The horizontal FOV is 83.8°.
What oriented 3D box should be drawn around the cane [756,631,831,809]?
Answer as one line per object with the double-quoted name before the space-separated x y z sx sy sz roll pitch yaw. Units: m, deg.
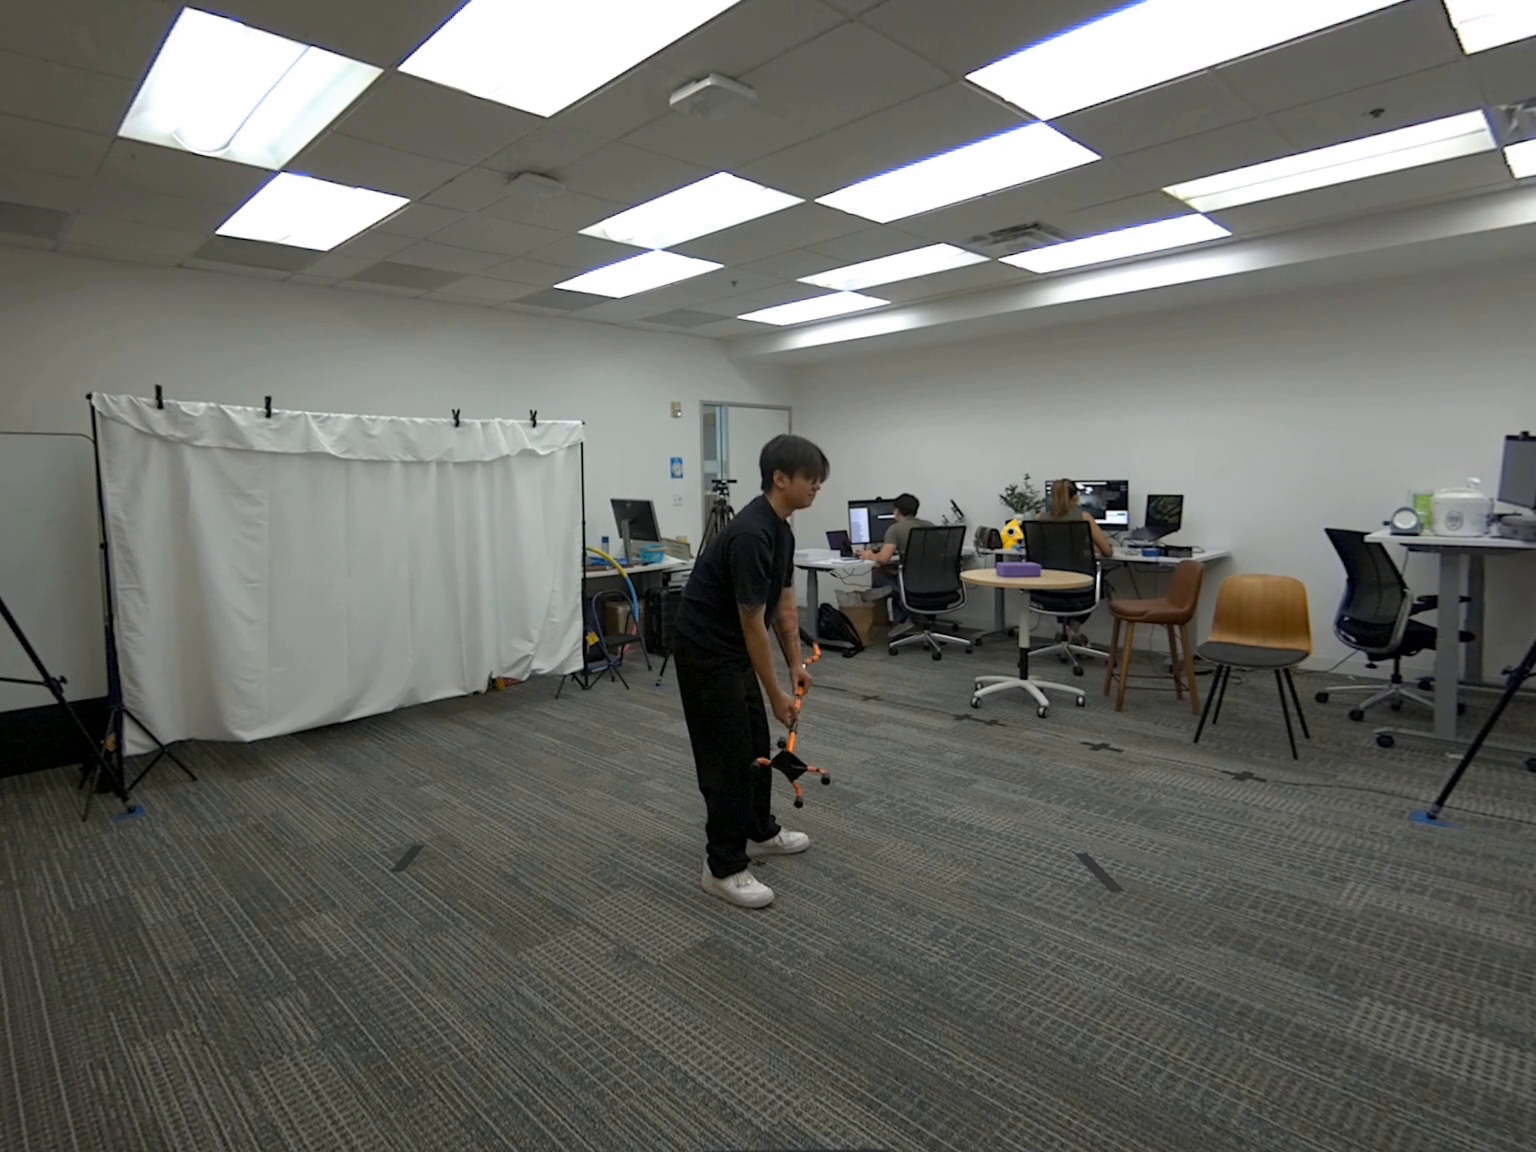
"cane" 0.129 0.427 2.996 0.204 0.151 0.918 40 22 -10
